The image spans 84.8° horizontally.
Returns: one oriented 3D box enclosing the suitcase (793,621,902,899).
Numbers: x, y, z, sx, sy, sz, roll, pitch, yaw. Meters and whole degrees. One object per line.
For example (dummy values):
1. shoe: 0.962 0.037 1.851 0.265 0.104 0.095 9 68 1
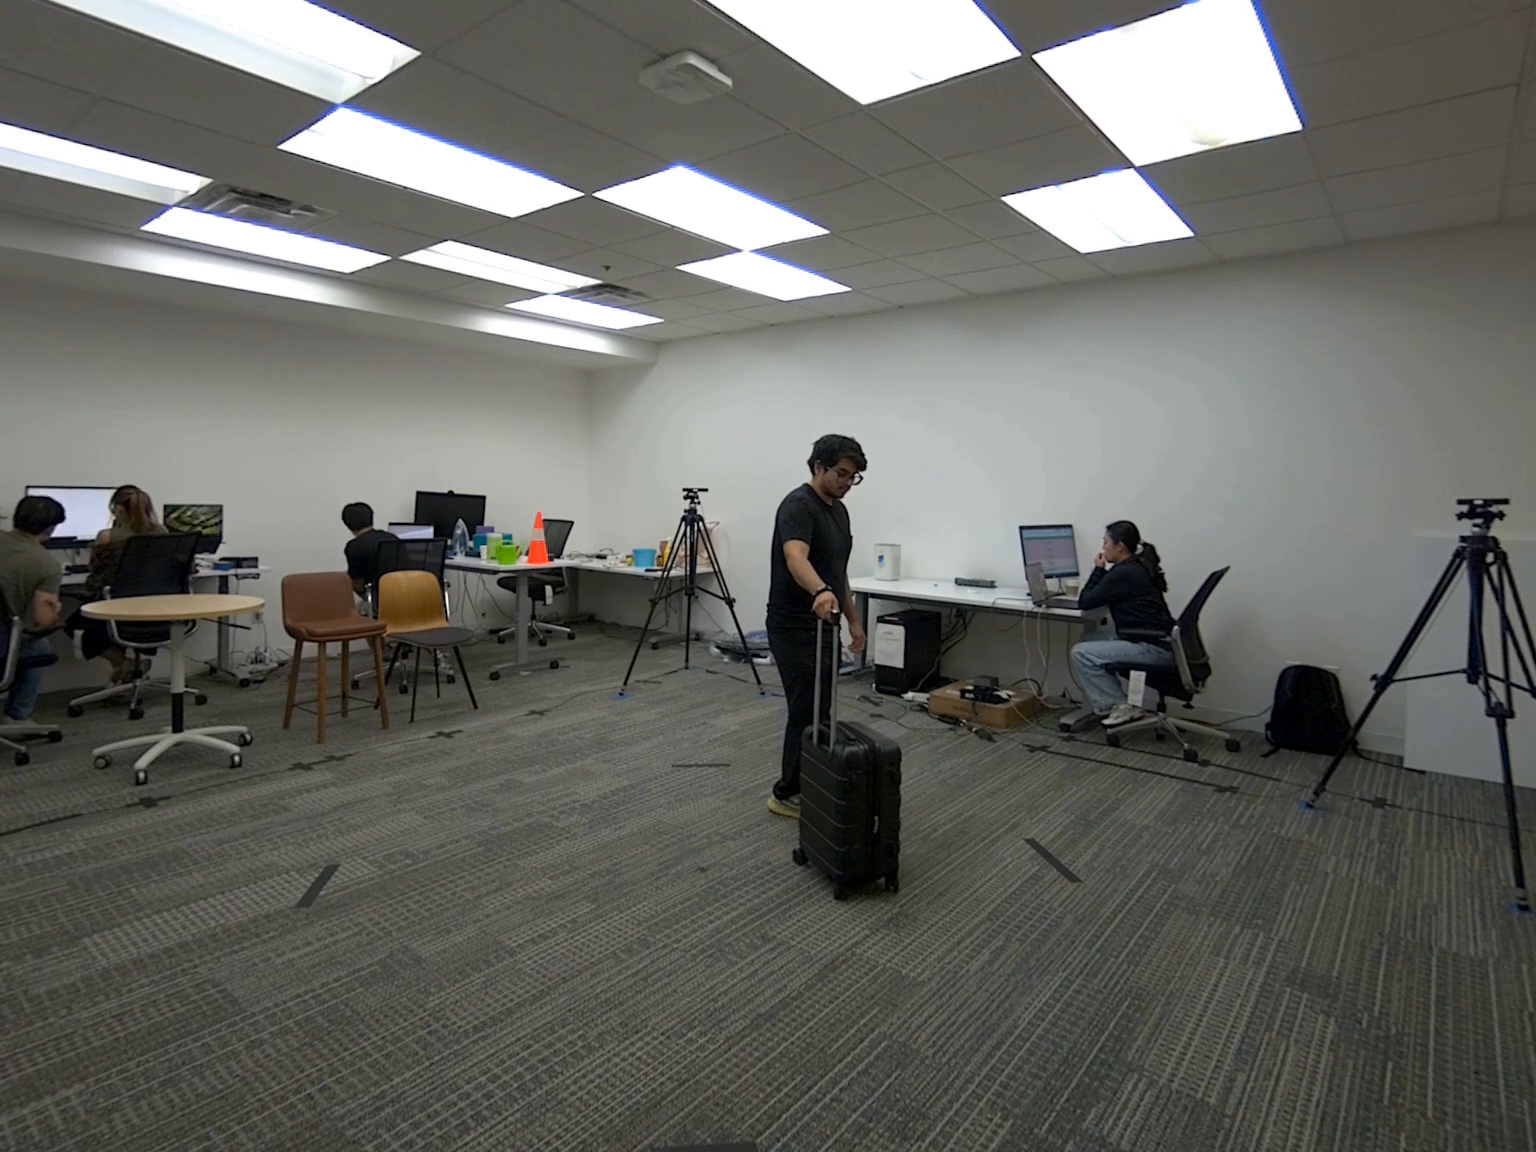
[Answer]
1. suitcase: 0.292 0.607 3.036 0.252 0.975 0.393 3 4 -21
